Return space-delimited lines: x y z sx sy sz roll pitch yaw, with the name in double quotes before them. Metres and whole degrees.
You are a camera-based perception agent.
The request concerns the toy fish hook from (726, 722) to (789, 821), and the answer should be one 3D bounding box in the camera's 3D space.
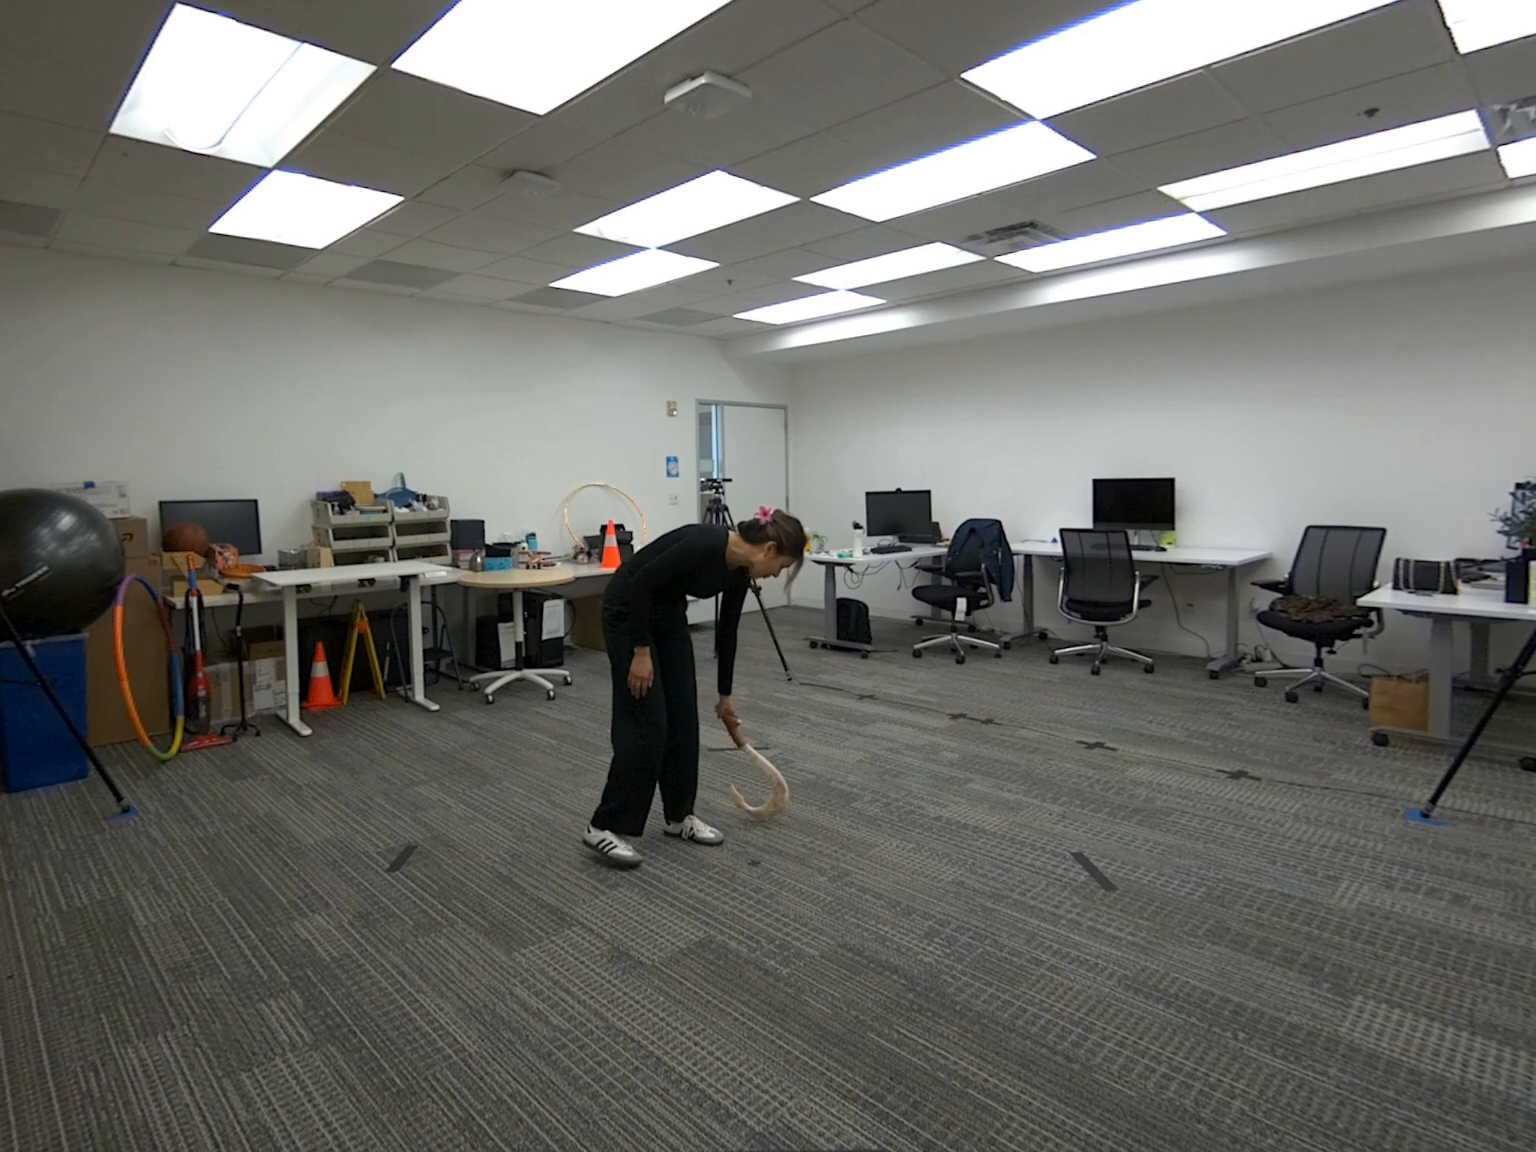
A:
"toy fish hook" -0.113 0.762 3.503 0.225 0.511 0.048 -32 -7 2
